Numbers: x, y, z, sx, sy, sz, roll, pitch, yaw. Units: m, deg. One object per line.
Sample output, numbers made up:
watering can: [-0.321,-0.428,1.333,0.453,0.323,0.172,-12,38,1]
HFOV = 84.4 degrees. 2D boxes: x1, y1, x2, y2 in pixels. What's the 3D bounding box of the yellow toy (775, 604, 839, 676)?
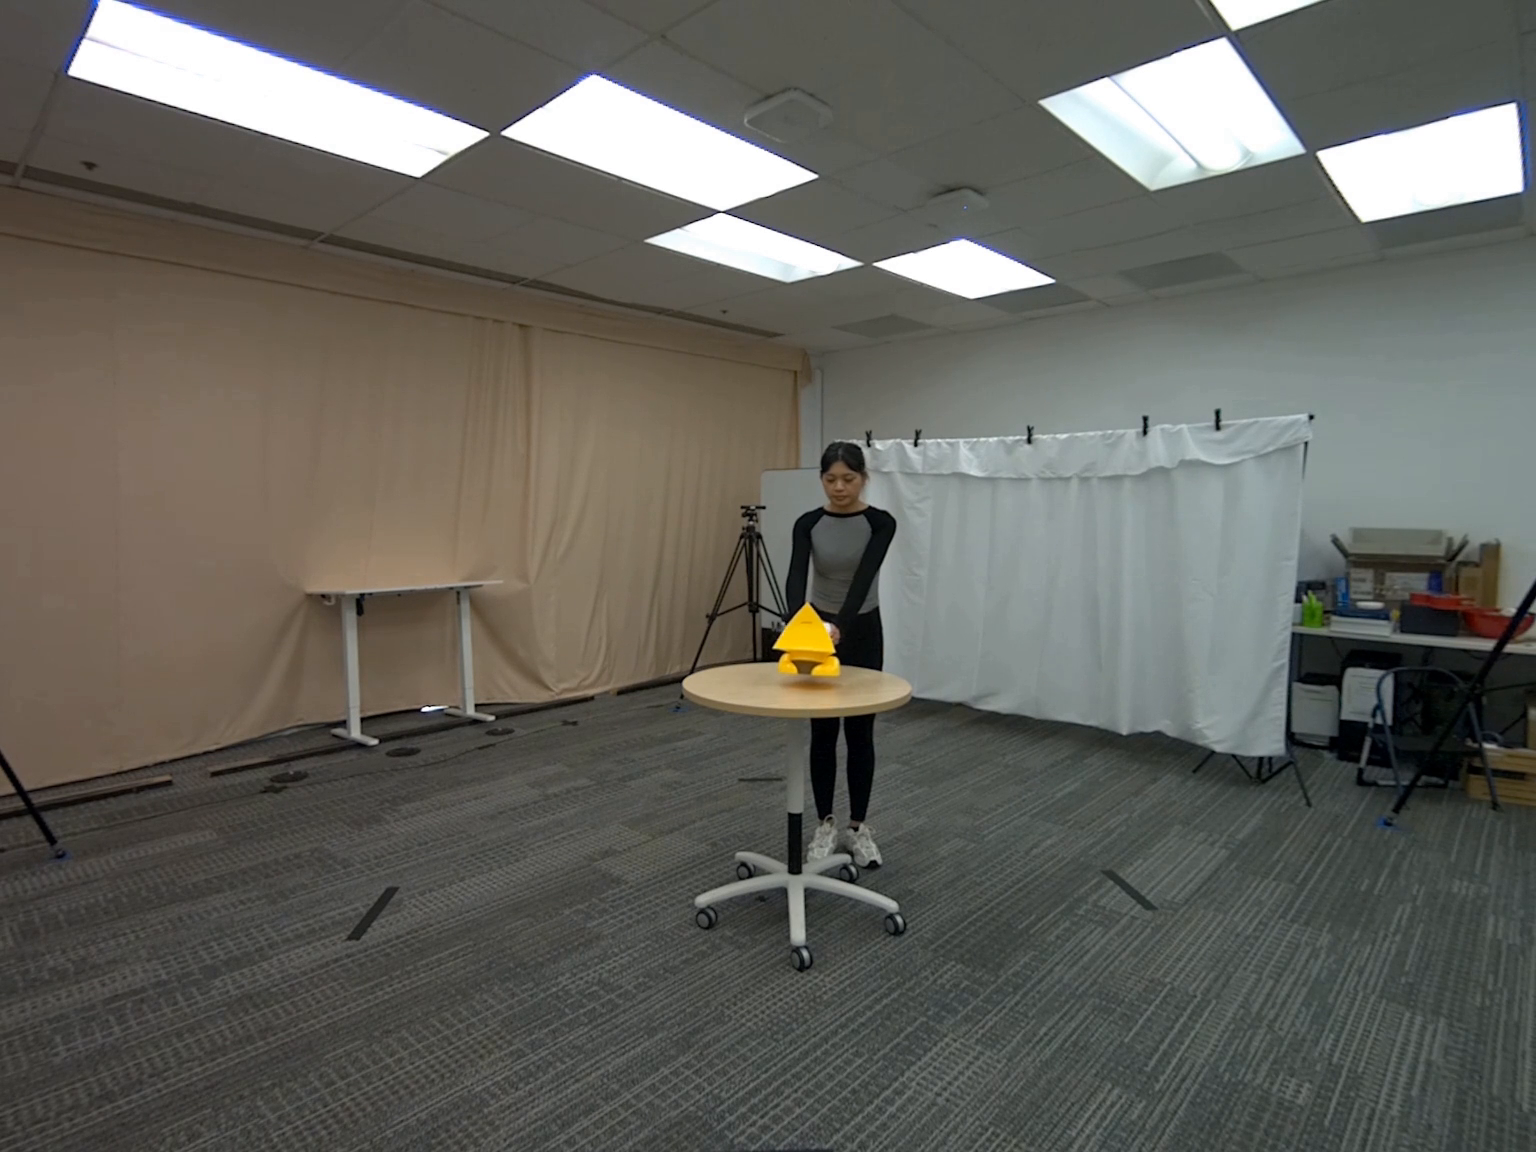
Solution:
yellow toy: [0.145,0.207,2.780,0.209,0.231,0.189,3,0,16]
